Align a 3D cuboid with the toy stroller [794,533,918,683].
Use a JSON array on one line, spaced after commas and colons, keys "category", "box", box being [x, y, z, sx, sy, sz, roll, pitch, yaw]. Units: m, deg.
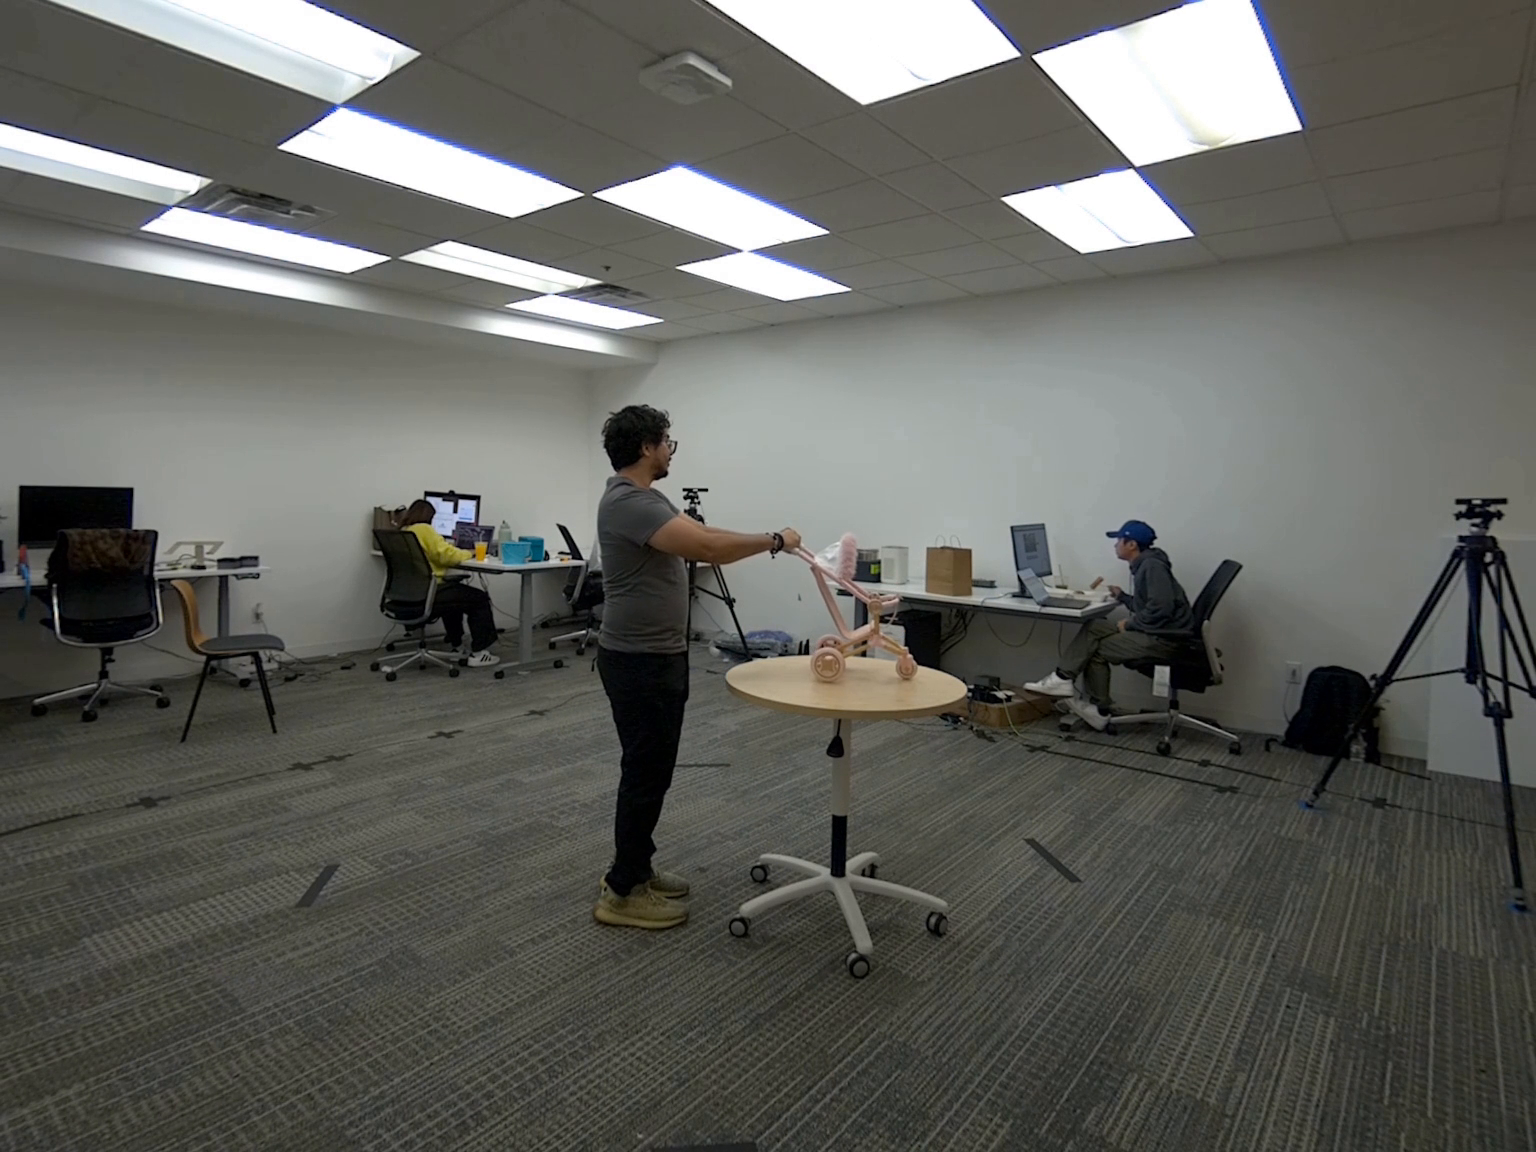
[{"category": "toy stroller", "box": [0.270, 0.100, 2.788, 0.345, 0.535, 0.278, -12, 0, 13]}]
